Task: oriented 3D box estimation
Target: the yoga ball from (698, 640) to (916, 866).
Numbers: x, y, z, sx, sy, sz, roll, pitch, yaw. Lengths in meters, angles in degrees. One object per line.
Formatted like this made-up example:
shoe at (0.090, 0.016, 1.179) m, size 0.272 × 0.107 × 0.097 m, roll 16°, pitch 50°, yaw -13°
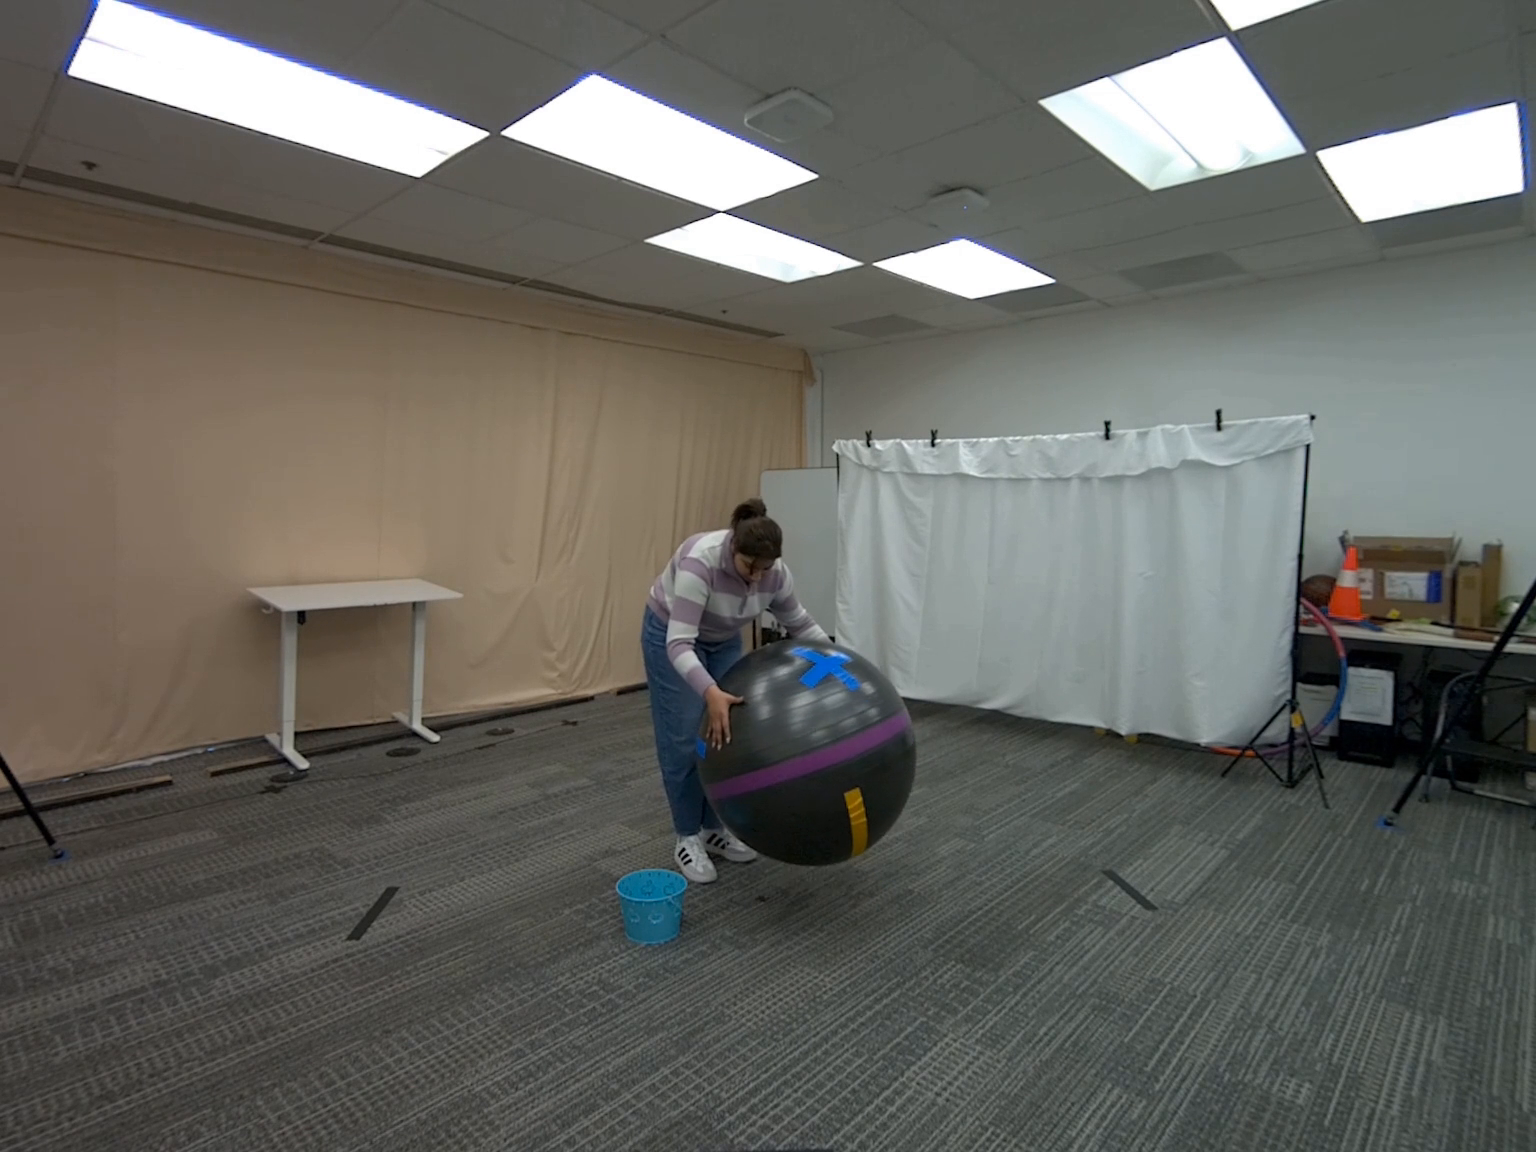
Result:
yoga ball at (0.130, 0.611, 2.906) m, size 0.757 × 0.756 × 0.760 m, roll 0°, pitch 4°, yaw -2°
